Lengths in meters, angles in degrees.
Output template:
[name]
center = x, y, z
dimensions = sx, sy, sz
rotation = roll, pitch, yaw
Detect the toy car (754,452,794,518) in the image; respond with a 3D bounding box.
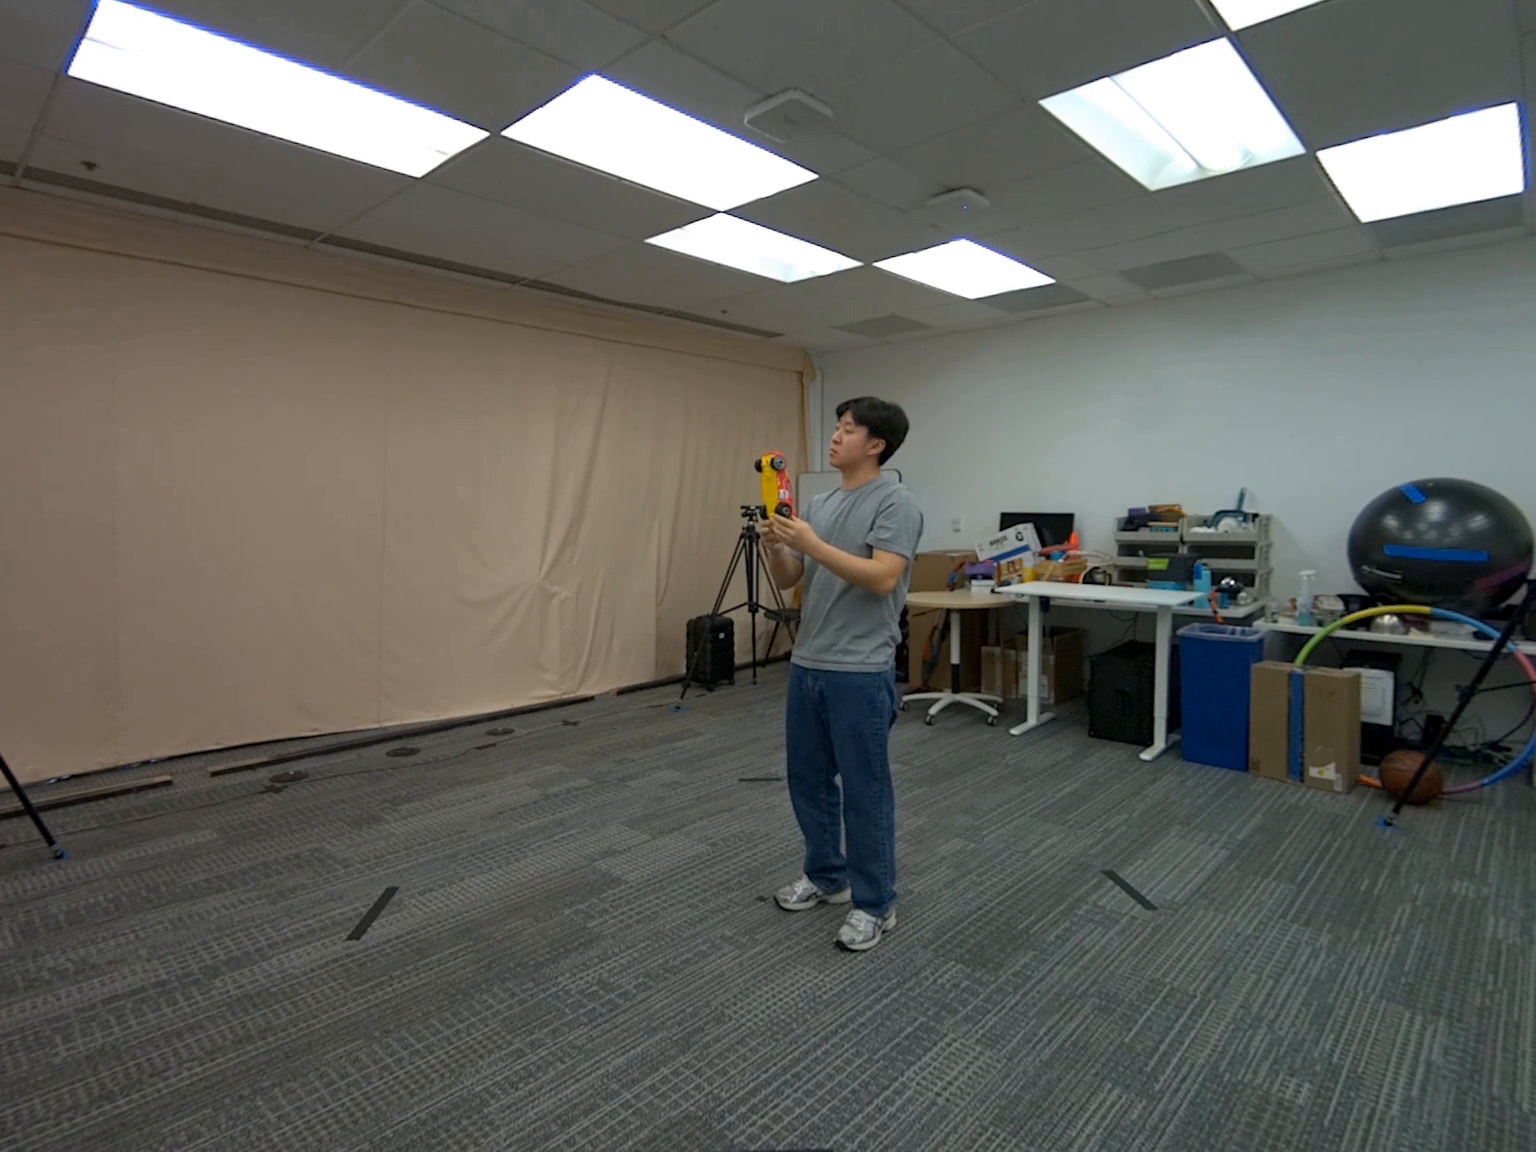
[toy car]
center = 0.030, -0.247, 2.563
dimensions = 0.081, 0.253, 0.134
rotation = -20, 9, -28
